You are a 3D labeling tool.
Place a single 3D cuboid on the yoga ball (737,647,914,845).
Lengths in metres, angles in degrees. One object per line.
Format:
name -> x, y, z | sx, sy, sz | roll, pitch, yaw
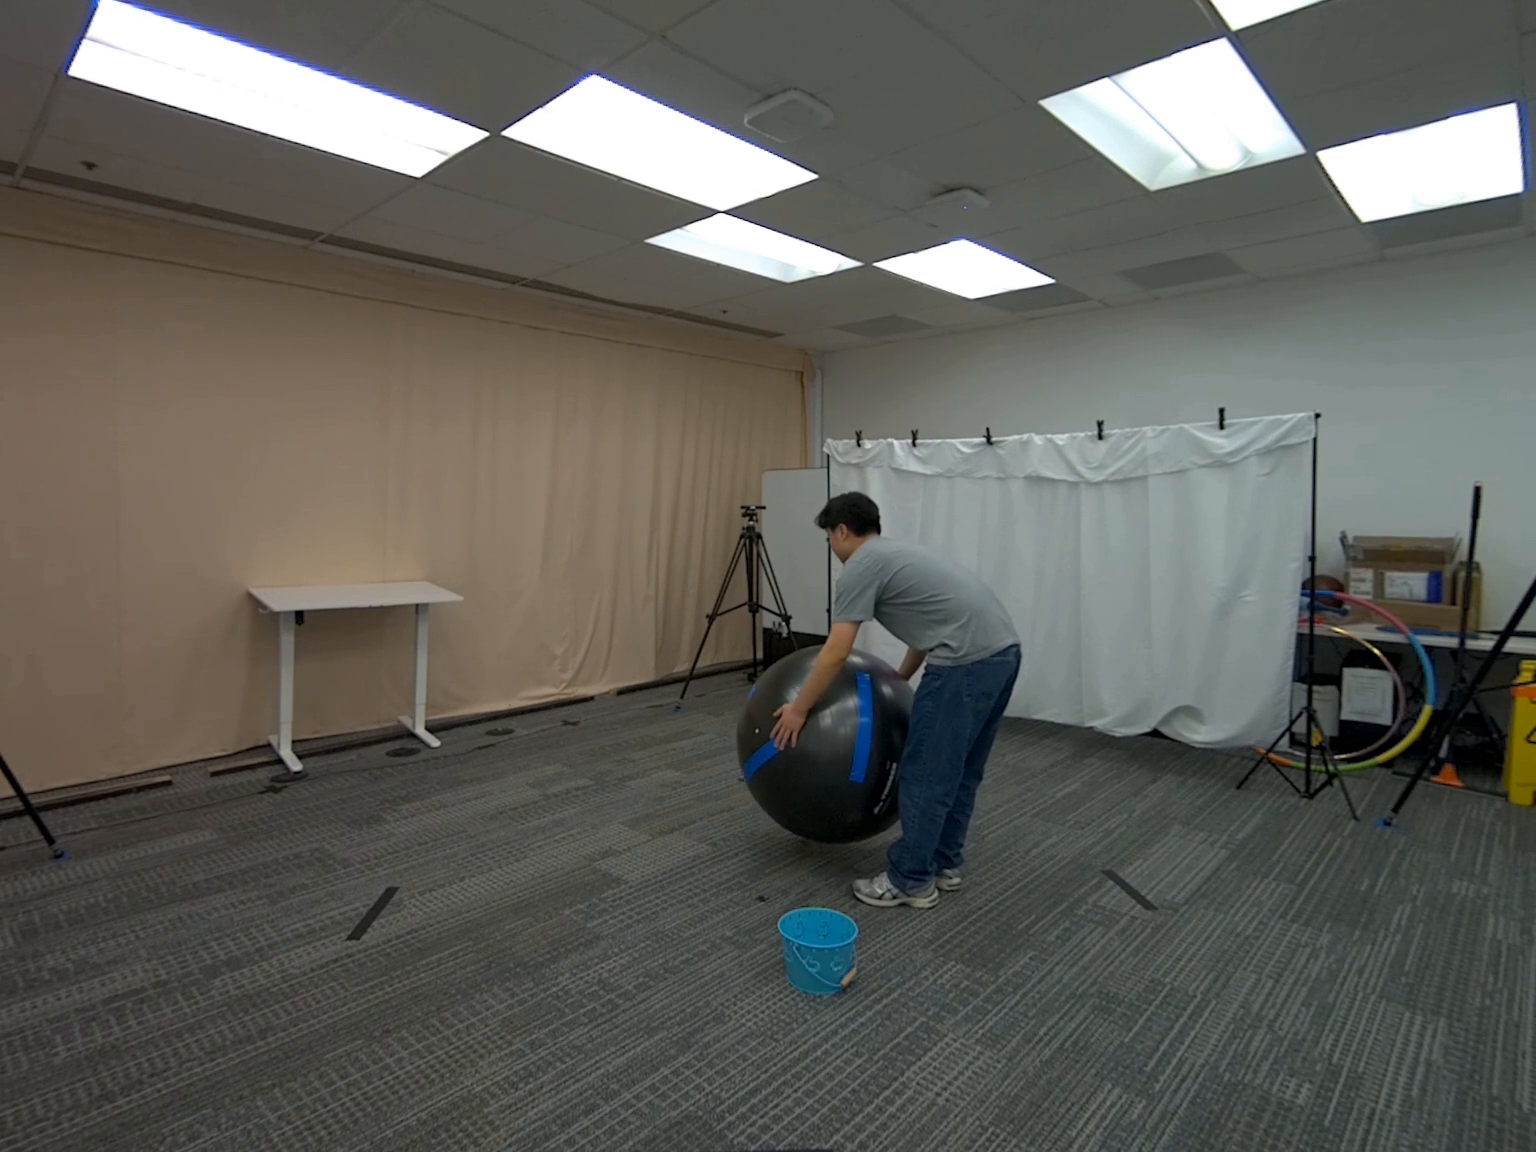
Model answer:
yoga ball -> 0.246, 0.655, 3.332 | 0.757, 0.756, 0.760 | 0, 4, -2
